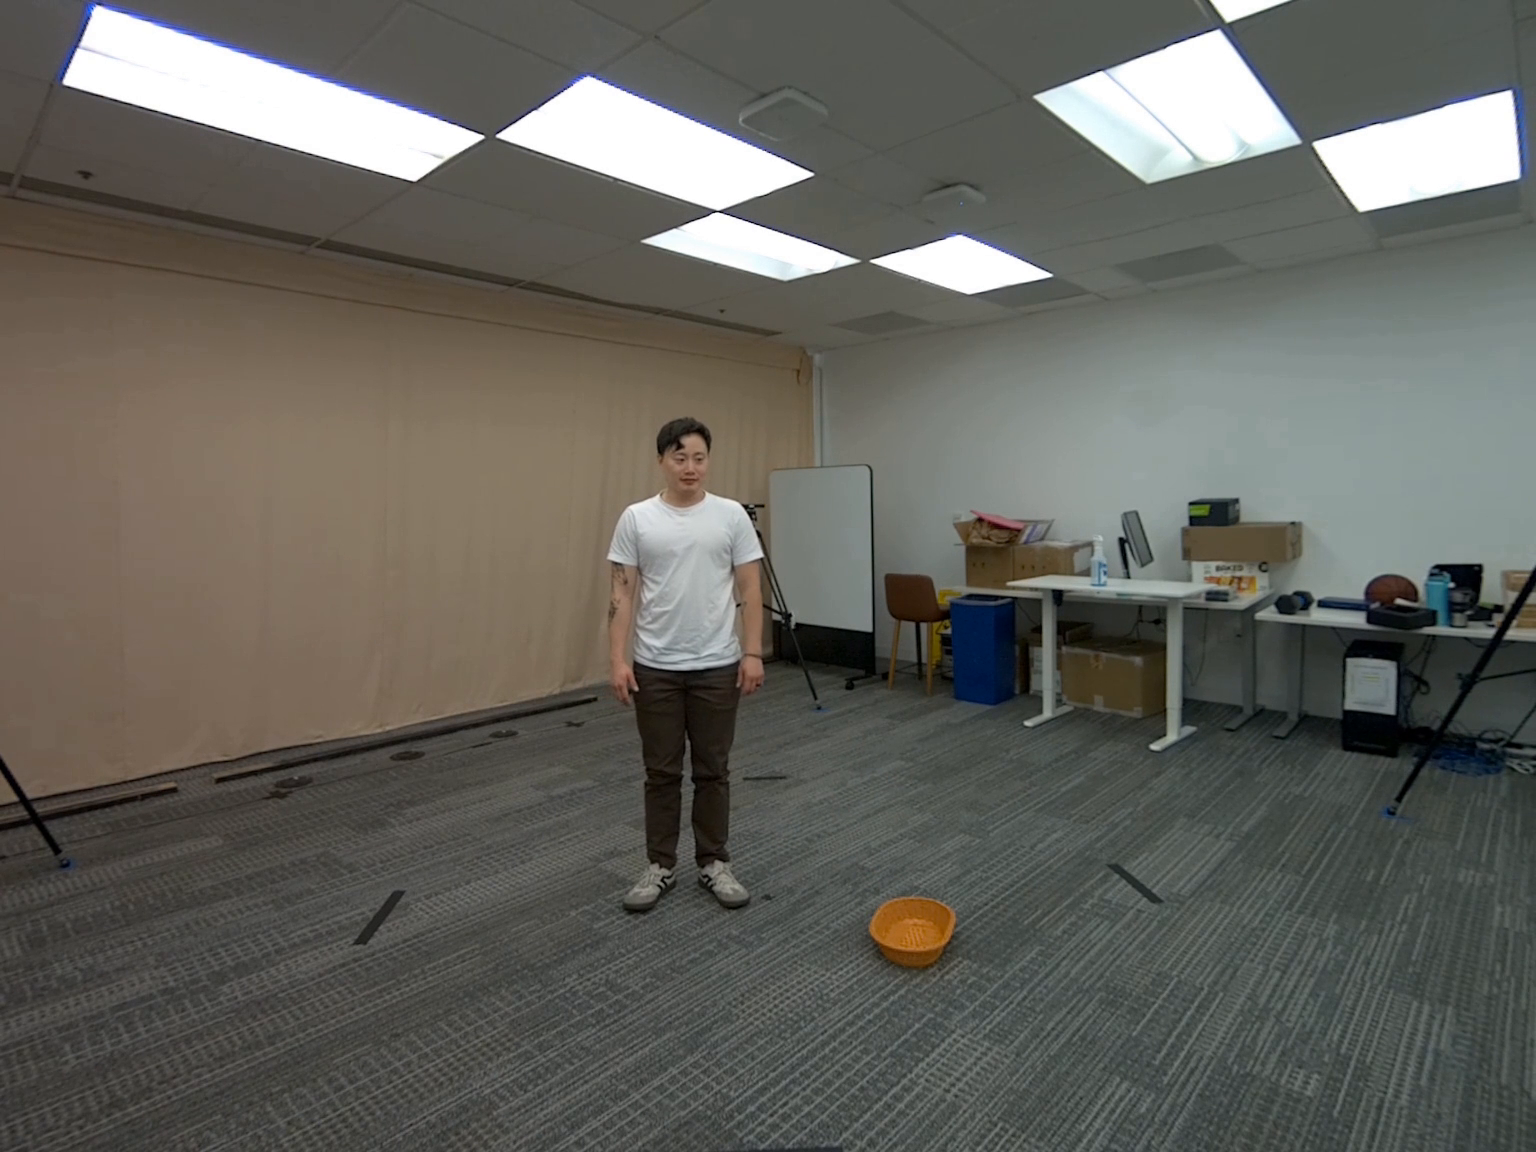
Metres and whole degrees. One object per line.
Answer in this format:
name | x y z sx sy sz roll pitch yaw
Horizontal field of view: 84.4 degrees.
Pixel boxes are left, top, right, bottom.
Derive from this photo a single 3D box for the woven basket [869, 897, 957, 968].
woven basket | 0.458 1.121 2.653 0.258 0.073 0.343 -1 5 24
